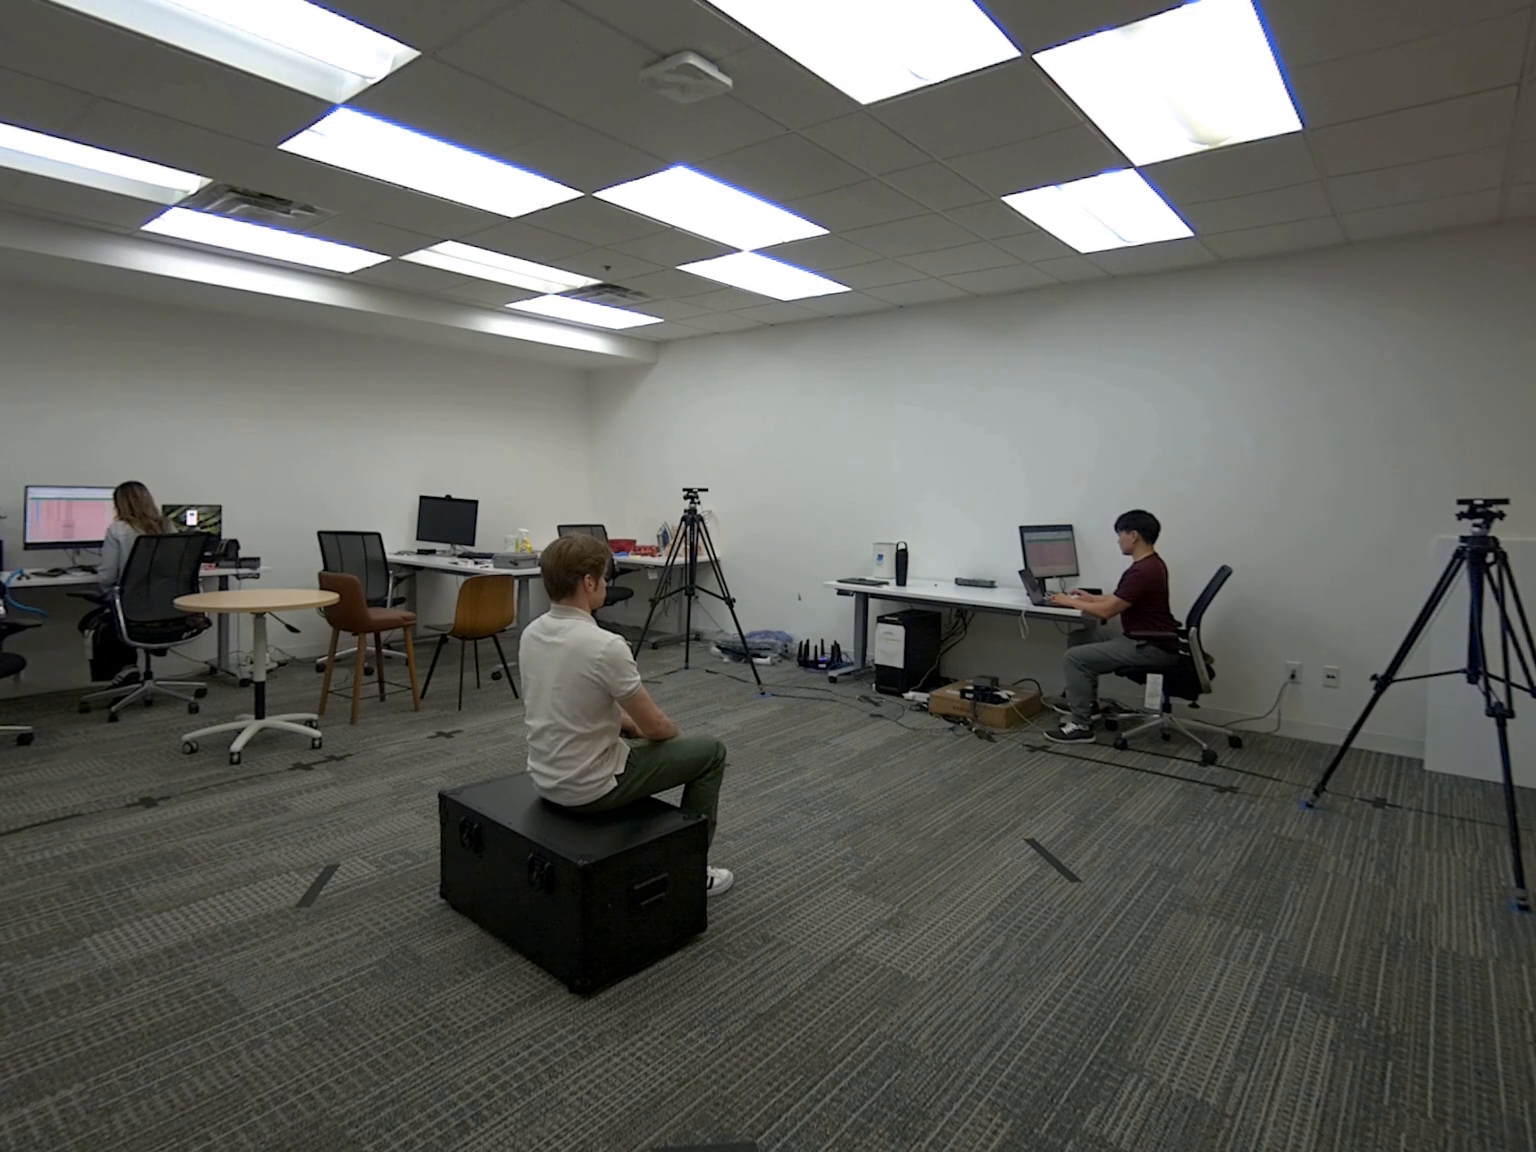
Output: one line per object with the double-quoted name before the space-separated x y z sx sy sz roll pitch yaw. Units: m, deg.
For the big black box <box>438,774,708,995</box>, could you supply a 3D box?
"big black box" -0.670 0.907 2.742 0.898 0.383 0.508 6 8 42
